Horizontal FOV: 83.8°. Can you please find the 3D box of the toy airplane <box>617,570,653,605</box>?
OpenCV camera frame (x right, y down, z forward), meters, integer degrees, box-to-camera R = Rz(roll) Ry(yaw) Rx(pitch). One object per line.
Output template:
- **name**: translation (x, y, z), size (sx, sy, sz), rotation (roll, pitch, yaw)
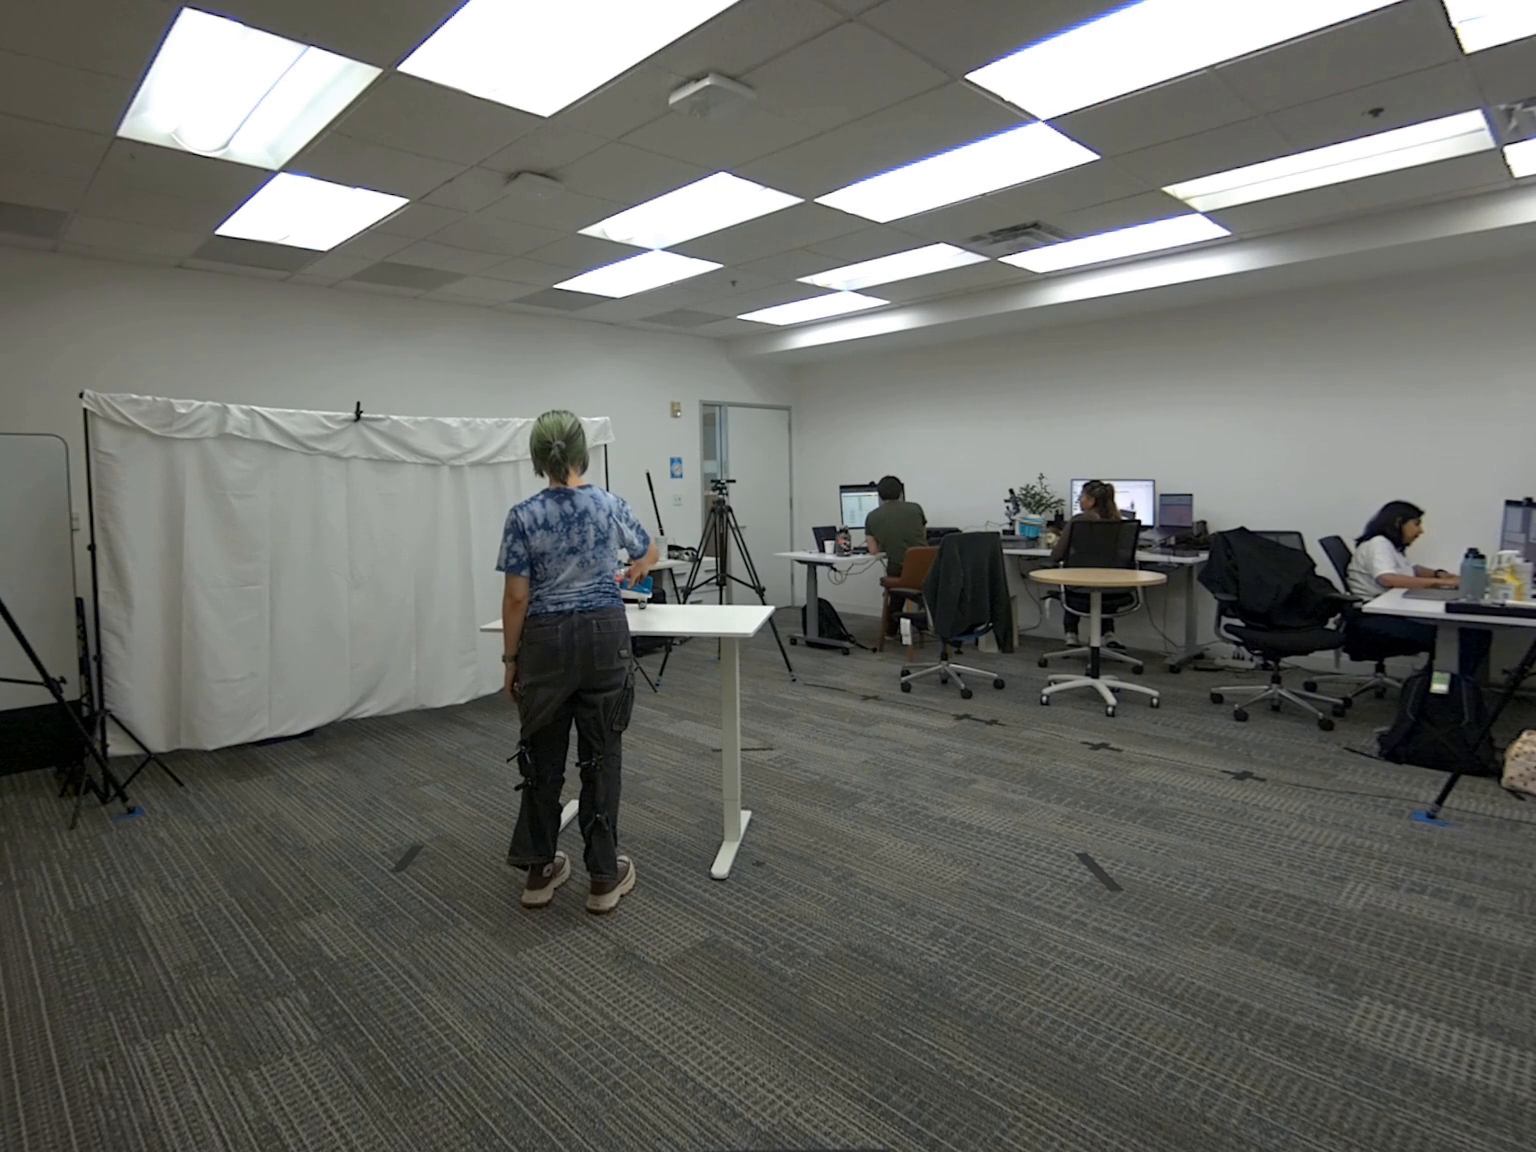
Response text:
- **toy airplane**: translation (-0.605, 0.055, 3.485), size (0.253, 0.156, 0.258), rotation (-6, 6, -30)
